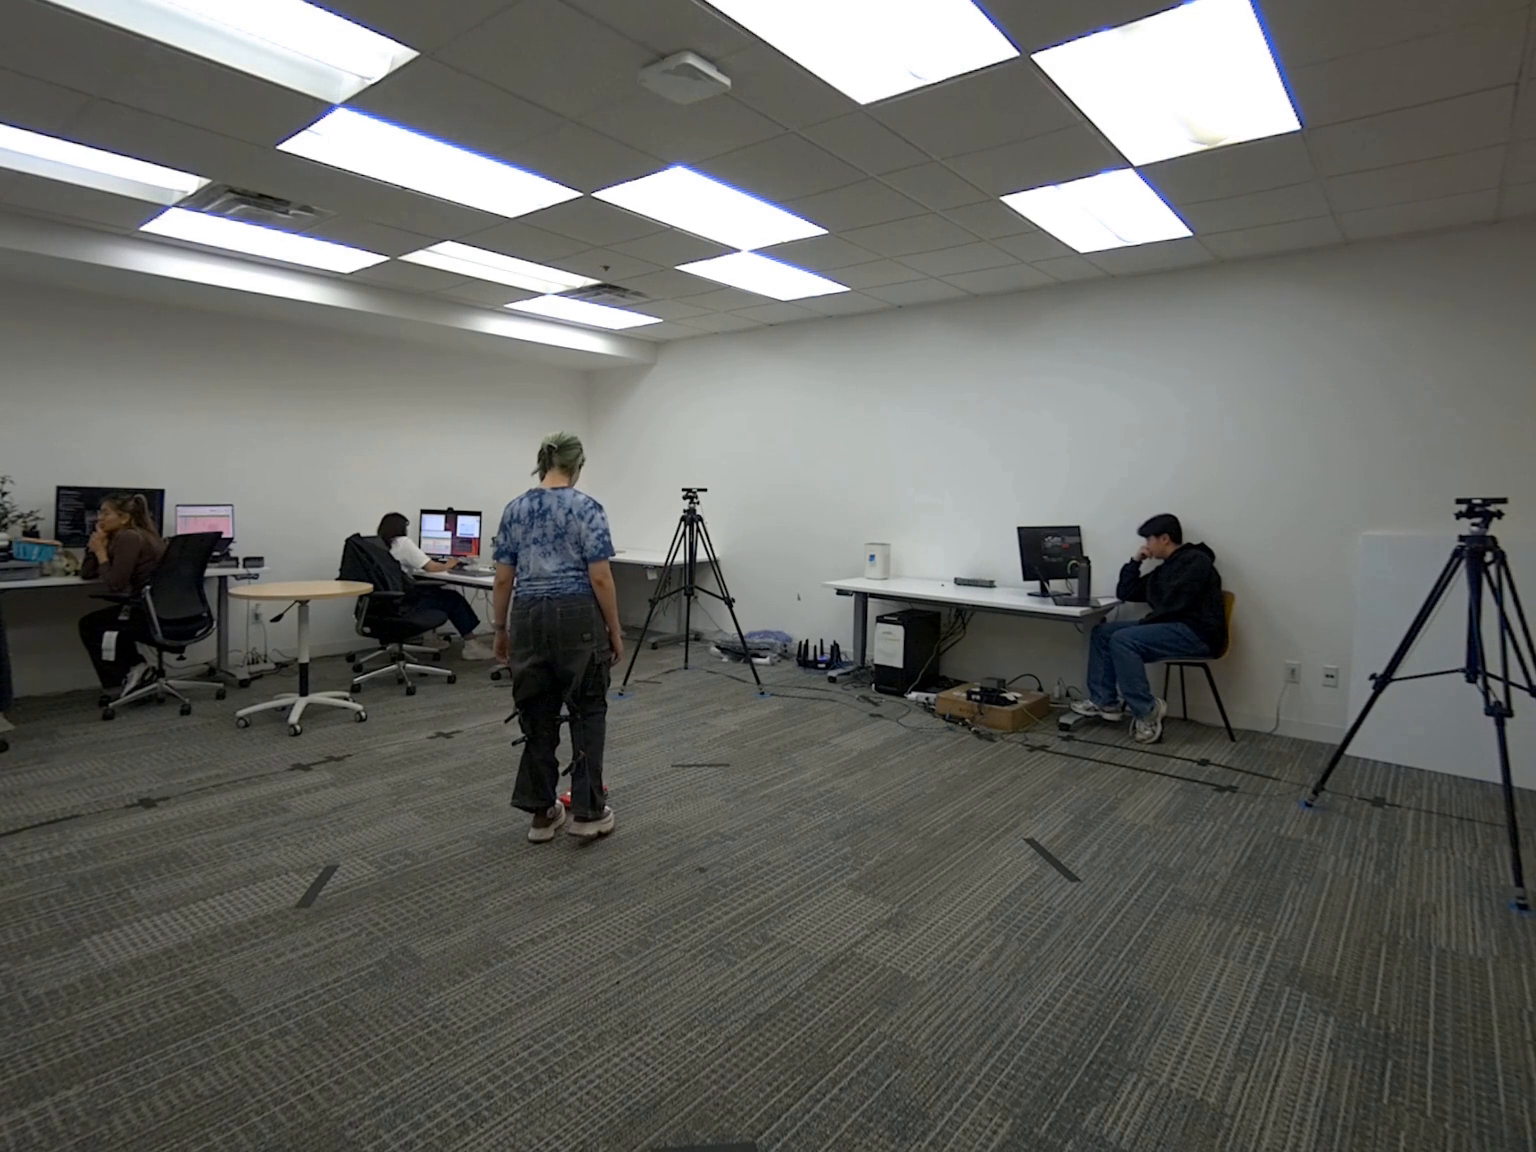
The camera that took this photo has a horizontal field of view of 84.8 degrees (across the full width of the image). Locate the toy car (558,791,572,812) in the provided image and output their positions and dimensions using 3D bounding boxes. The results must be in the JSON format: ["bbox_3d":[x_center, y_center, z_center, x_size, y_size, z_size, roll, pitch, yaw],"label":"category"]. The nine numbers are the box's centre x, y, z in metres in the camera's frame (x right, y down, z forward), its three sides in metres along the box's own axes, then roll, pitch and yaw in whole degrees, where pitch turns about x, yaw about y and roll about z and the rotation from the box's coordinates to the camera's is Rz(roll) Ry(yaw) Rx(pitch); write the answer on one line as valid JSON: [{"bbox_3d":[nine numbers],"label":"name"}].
[{"bbox_3d":[-0.823,0.962,3.740,0.134,0.084,0.246,3,-6,26],"label":"toy car"}]
